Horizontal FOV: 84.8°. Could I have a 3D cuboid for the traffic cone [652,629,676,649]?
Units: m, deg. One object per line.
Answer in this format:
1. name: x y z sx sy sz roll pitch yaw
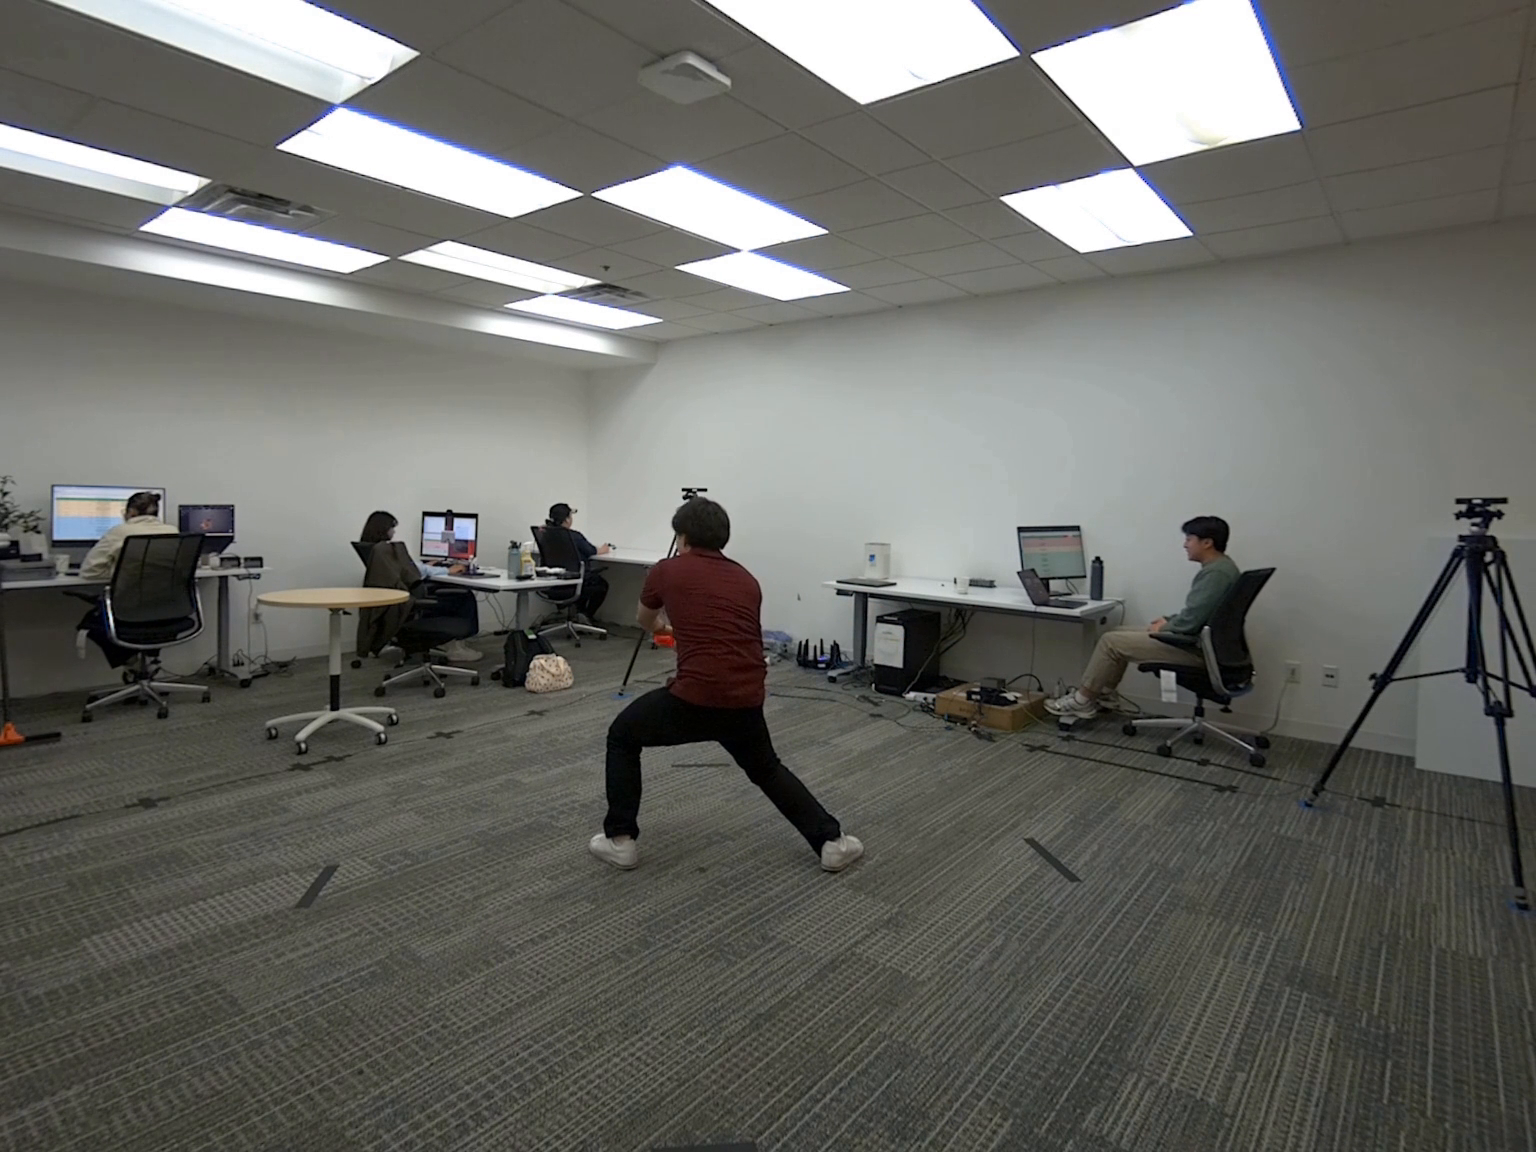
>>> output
1. traffic cone: -0.344 0.268 3.682 0.371 0.203 0.212 3 16 -40
